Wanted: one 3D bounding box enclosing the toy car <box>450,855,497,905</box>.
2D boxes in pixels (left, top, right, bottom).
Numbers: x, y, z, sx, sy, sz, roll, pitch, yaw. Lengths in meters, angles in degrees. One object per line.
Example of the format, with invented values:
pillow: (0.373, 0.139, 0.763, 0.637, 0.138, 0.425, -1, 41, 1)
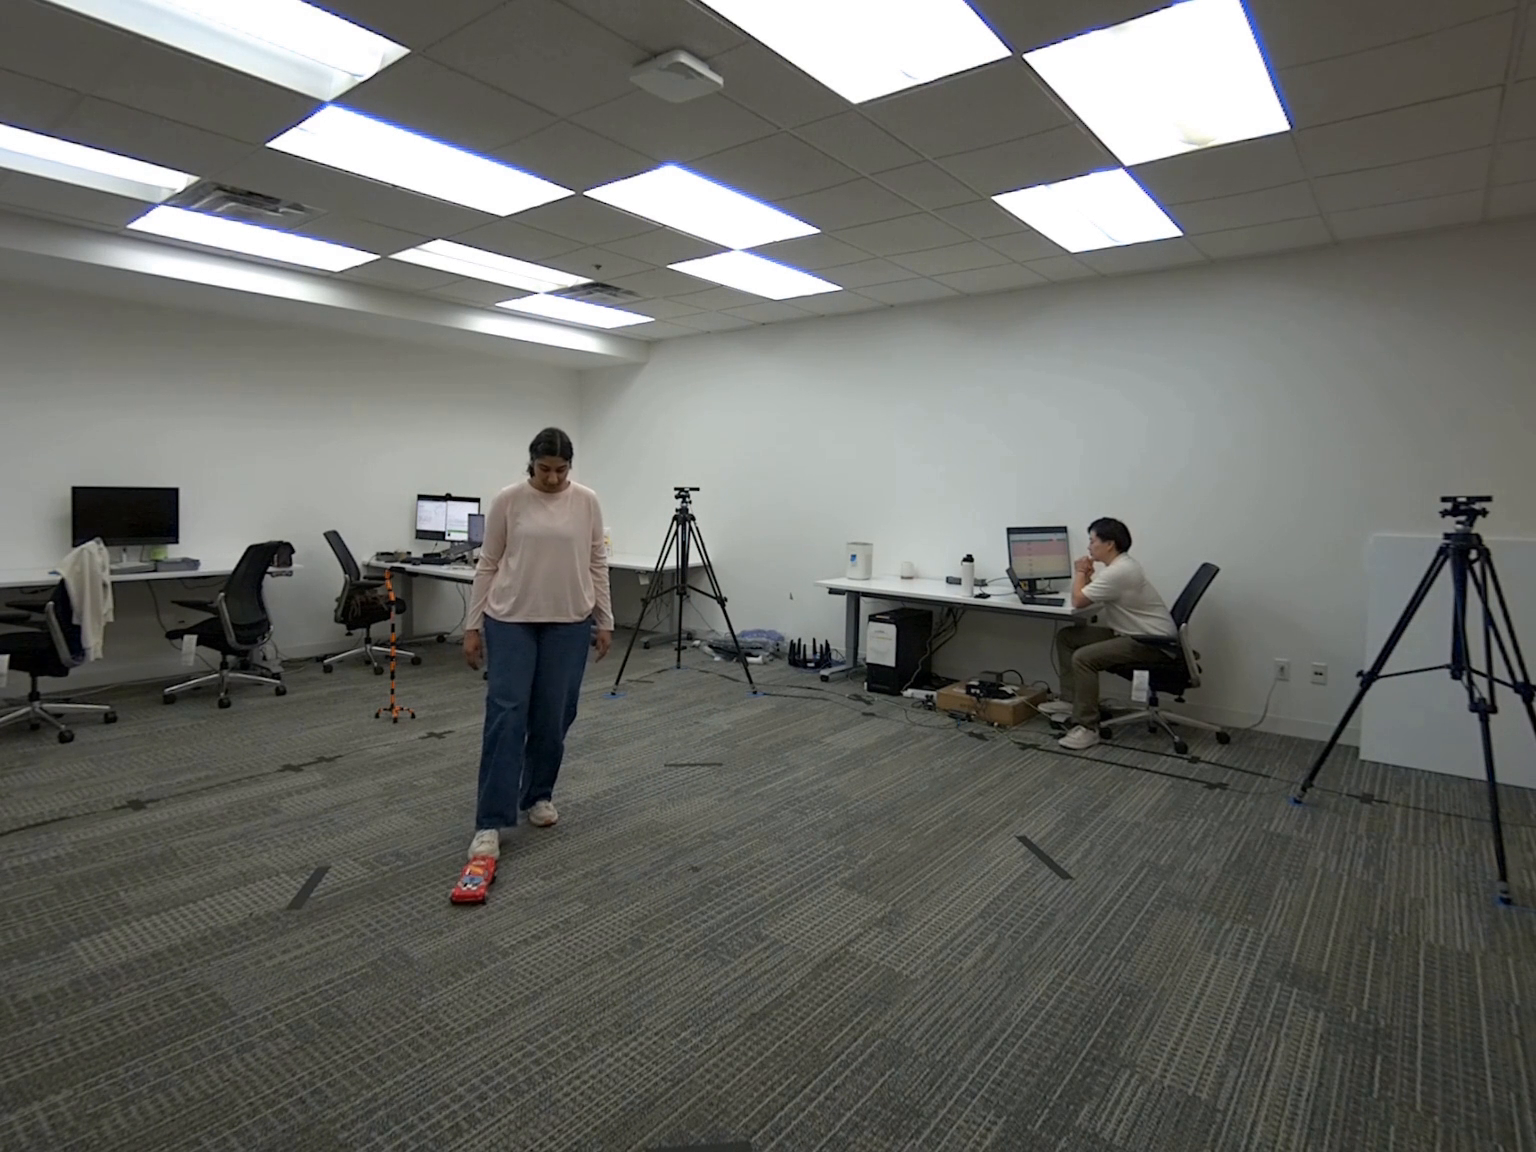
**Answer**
toy car: (-1.022, 1.041, 2.916, 0.130, 0.082, 0.259, 0, 17, -5)
